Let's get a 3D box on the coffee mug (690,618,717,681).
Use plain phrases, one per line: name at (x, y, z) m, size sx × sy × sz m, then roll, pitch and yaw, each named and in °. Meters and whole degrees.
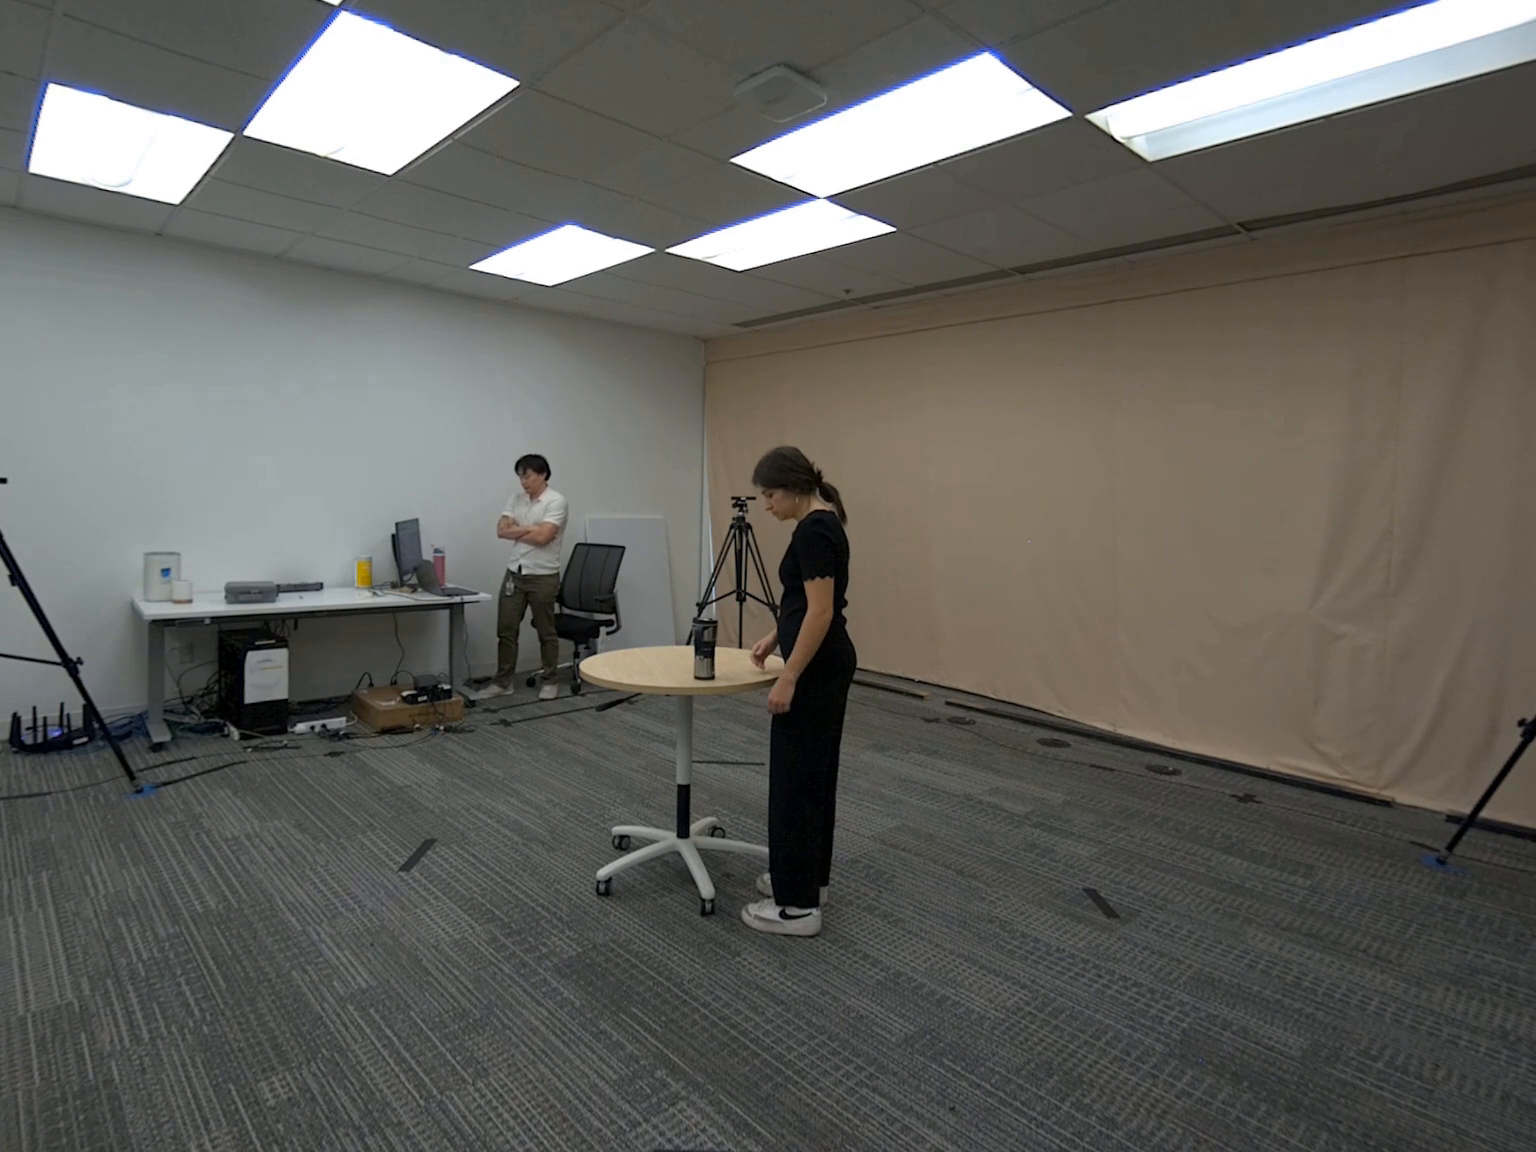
coffee mug at (-0.230, 0.248, 2.802) m, size 0.119 × 0.202 × 0.090 m, roll 2°, pitch 6°, yaw -42°
